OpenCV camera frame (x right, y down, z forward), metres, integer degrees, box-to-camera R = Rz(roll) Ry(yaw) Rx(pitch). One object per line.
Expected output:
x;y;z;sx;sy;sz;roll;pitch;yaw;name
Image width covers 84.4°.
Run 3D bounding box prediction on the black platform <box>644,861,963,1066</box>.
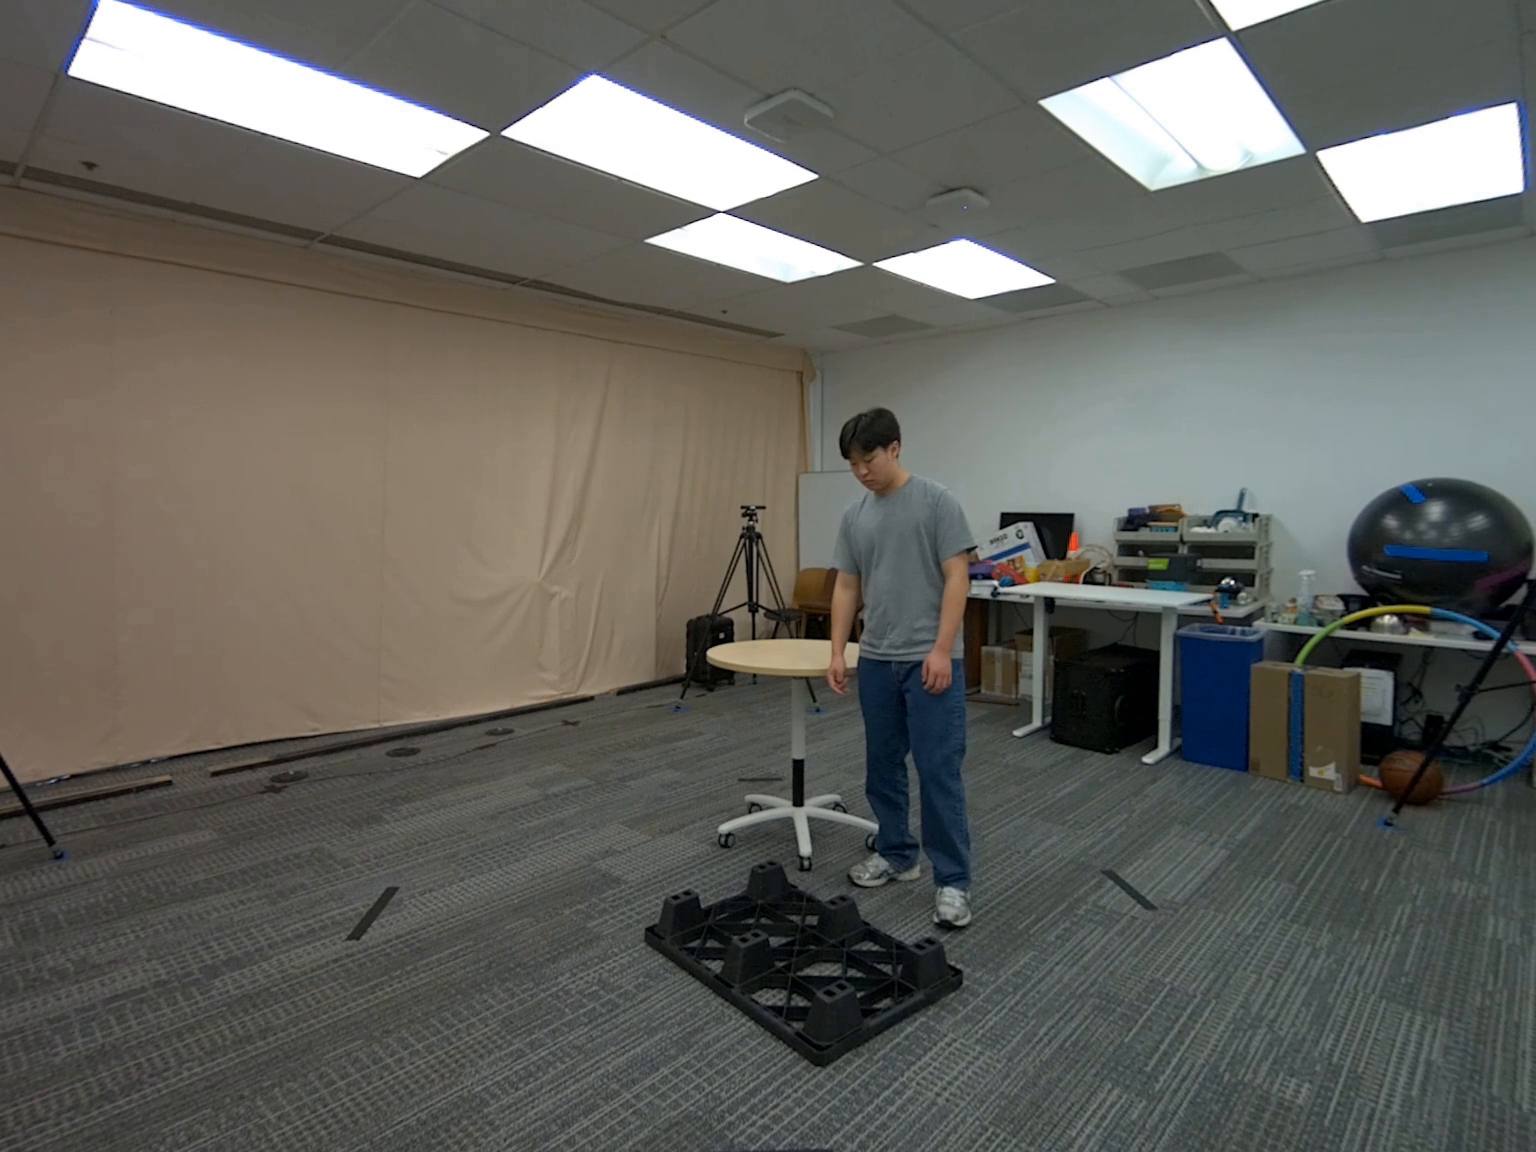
0.093;1.113;2.567;0.587;0.143;0.832;-5;7;-40;black platform
